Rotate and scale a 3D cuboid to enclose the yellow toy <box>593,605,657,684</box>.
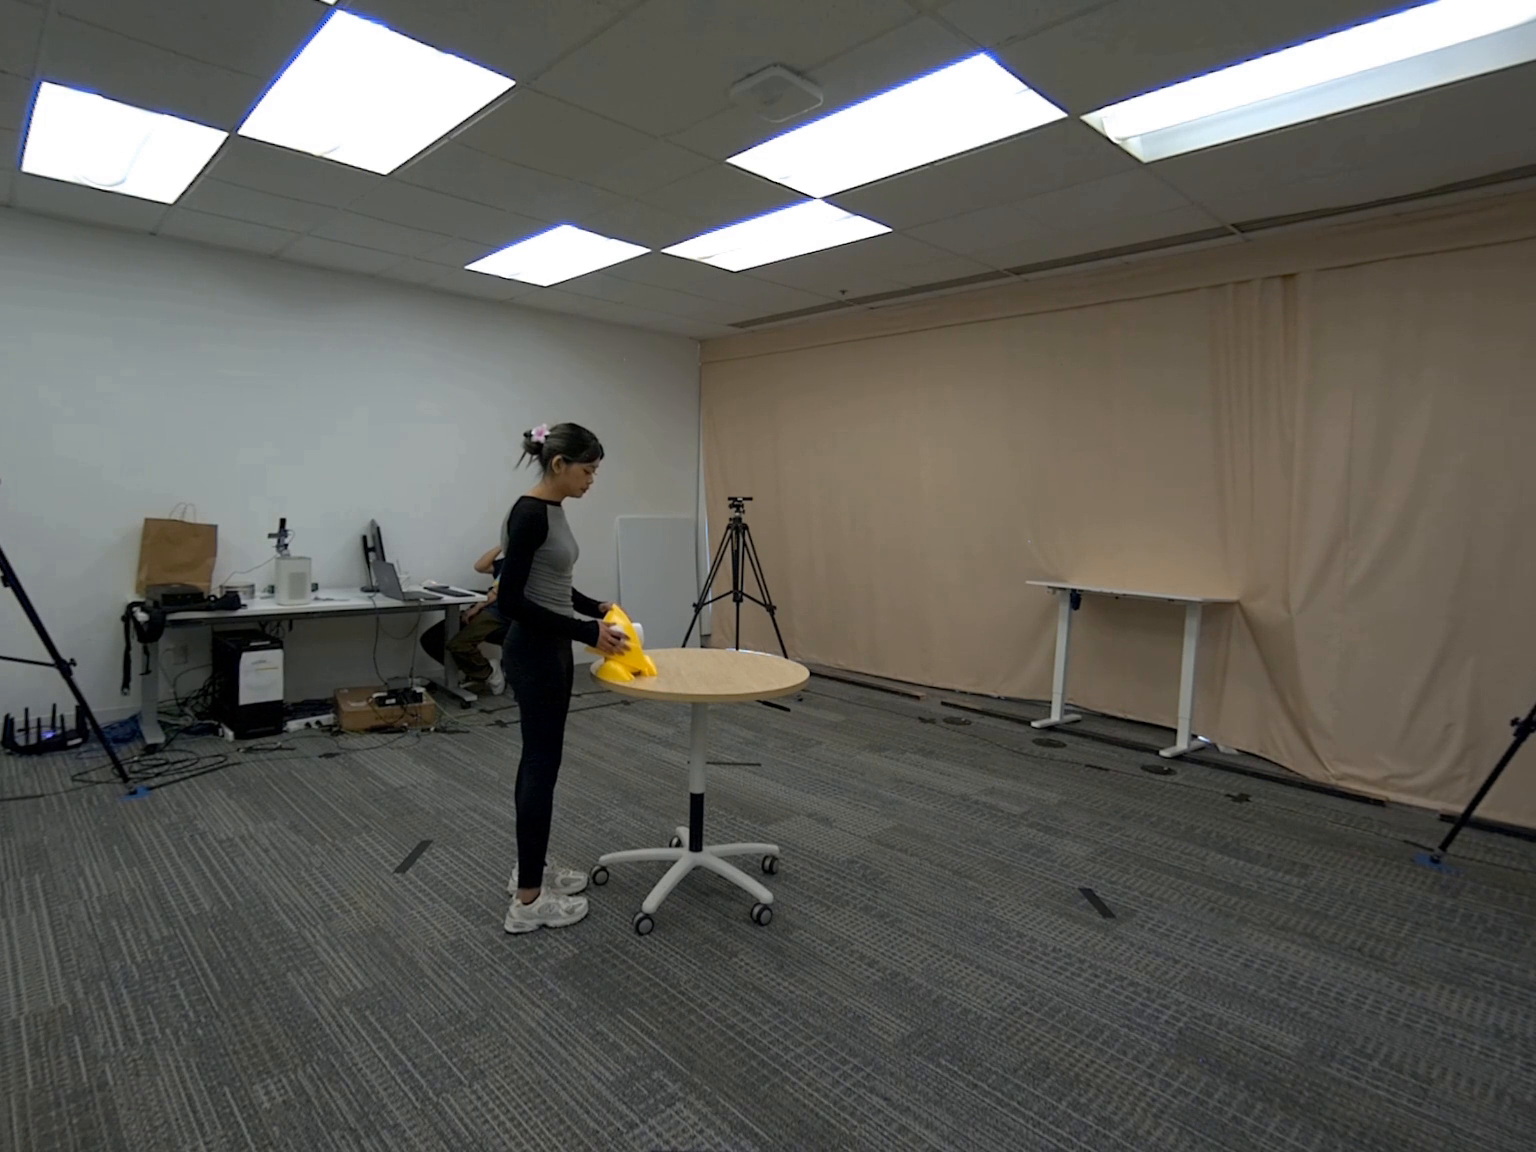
[{"bbox_3d":[-0.488,0.218,2.821,0.198,0.230,0.200,6,6,39],"label":"yellow toy"}]
